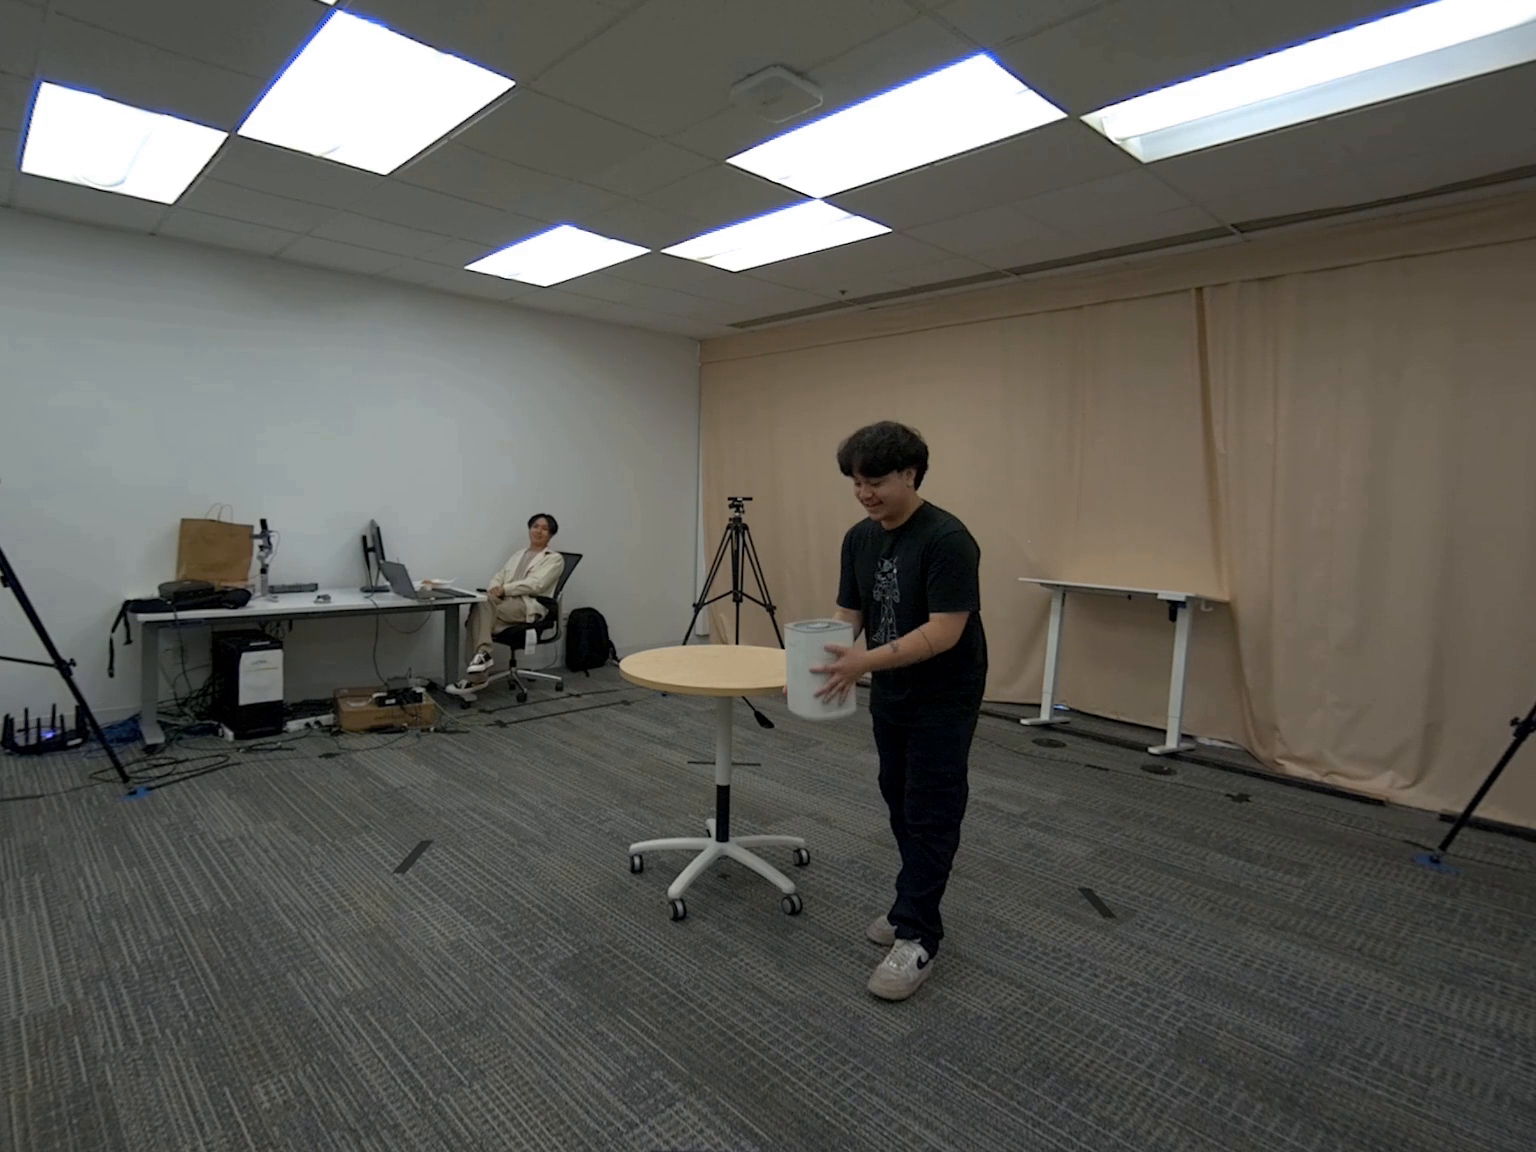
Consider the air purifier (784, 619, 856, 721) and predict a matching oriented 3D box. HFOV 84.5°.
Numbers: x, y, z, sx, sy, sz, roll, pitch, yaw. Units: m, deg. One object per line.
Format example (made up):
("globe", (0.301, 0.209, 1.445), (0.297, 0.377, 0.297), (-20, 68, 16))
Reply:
("air purifier", (0.158, 0.264, 2.394), (0.168, 0.265, 0.174), (-2, 2, -26))
